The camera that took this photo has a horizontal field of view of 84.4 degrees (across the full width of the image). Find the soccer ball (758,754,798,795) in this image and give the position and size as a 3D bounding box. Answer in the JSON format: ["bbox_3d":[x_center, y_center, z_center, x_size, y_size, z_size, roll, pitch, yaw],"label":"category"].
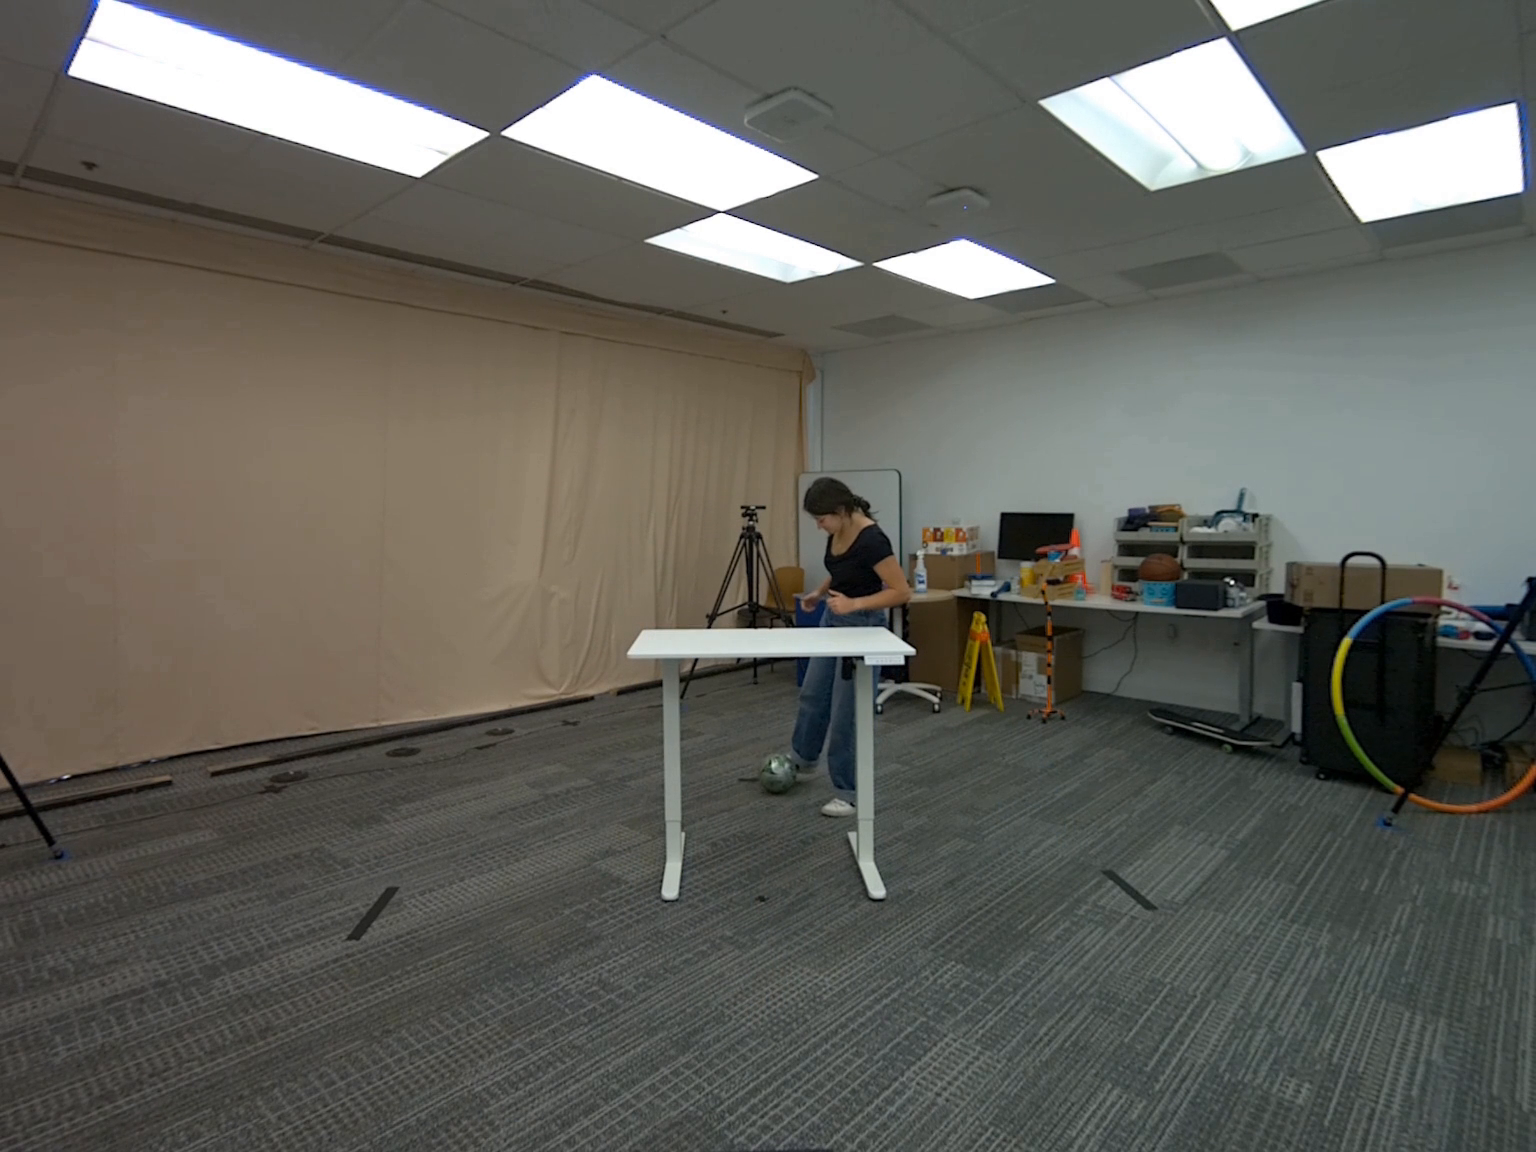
[{"bbox_3d":[0.049,0.965,4.106,0.187,0.187,0.188,0,4,-2],"label":"soccer ball"}]
